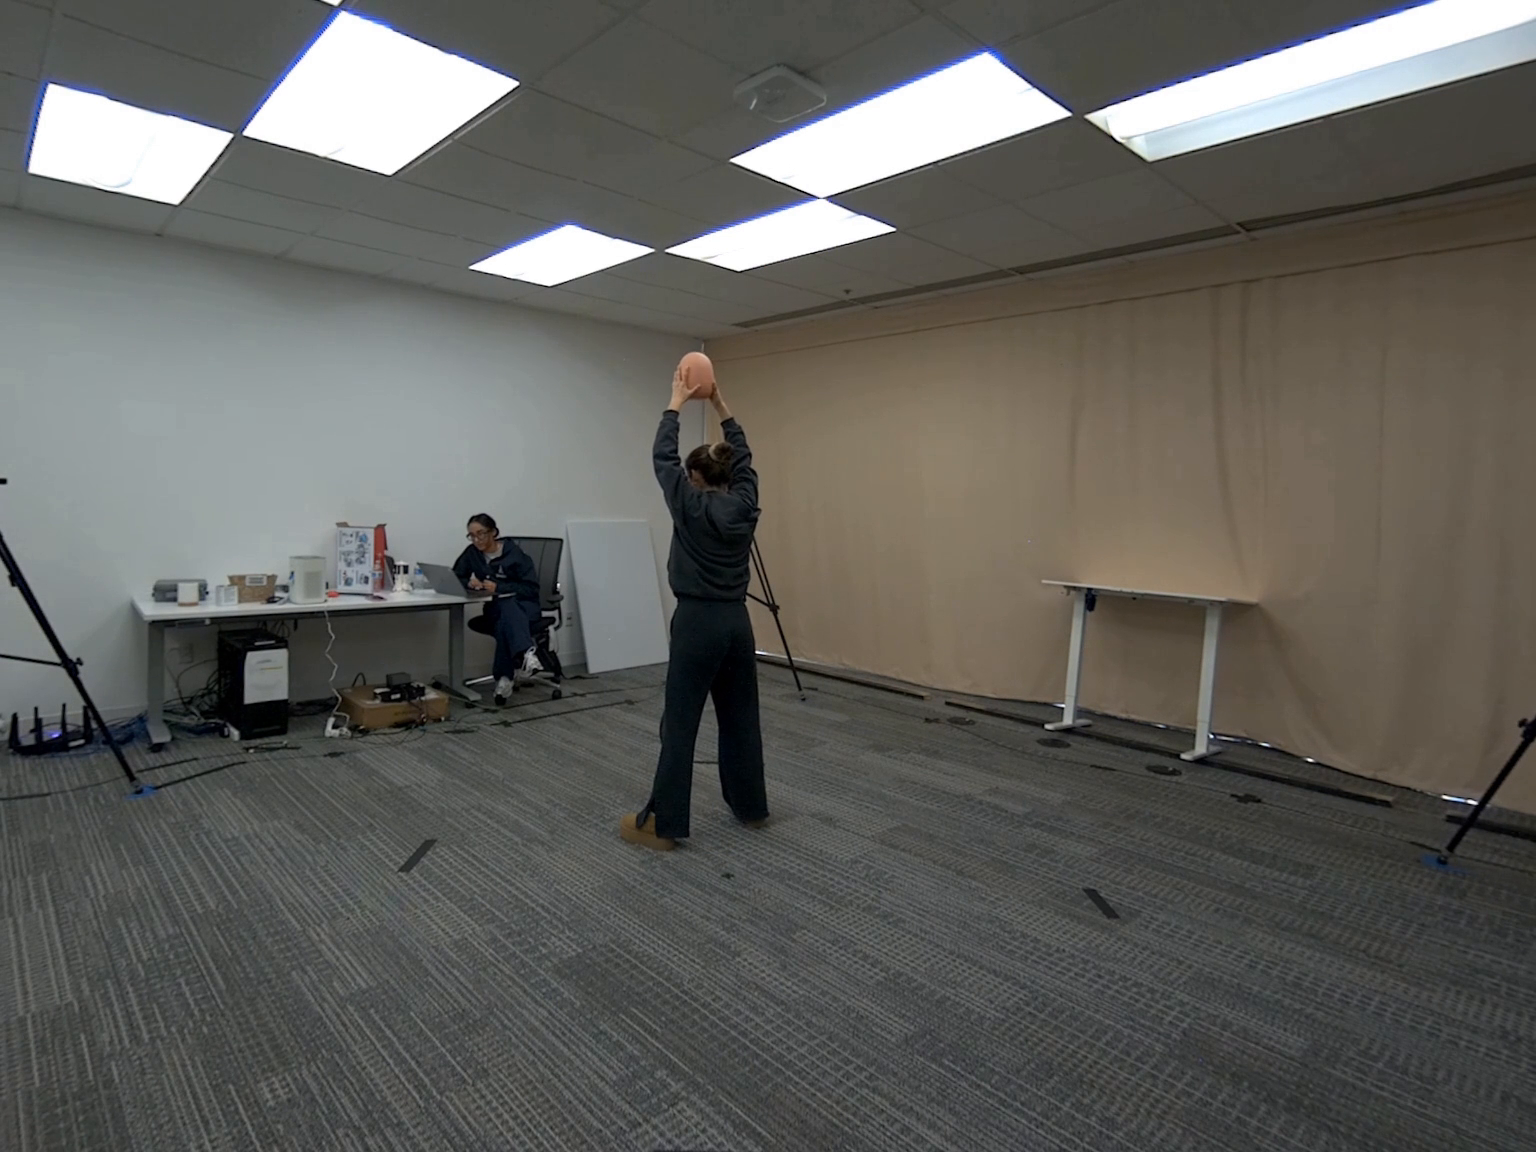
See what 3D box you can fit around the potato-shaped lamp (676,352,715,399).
[{"bbox_3d":[-0.323,-0.849,3.566,0.161,0.197,0.176,-3,5,-39],"label":"potato-shaped lamp"}]
